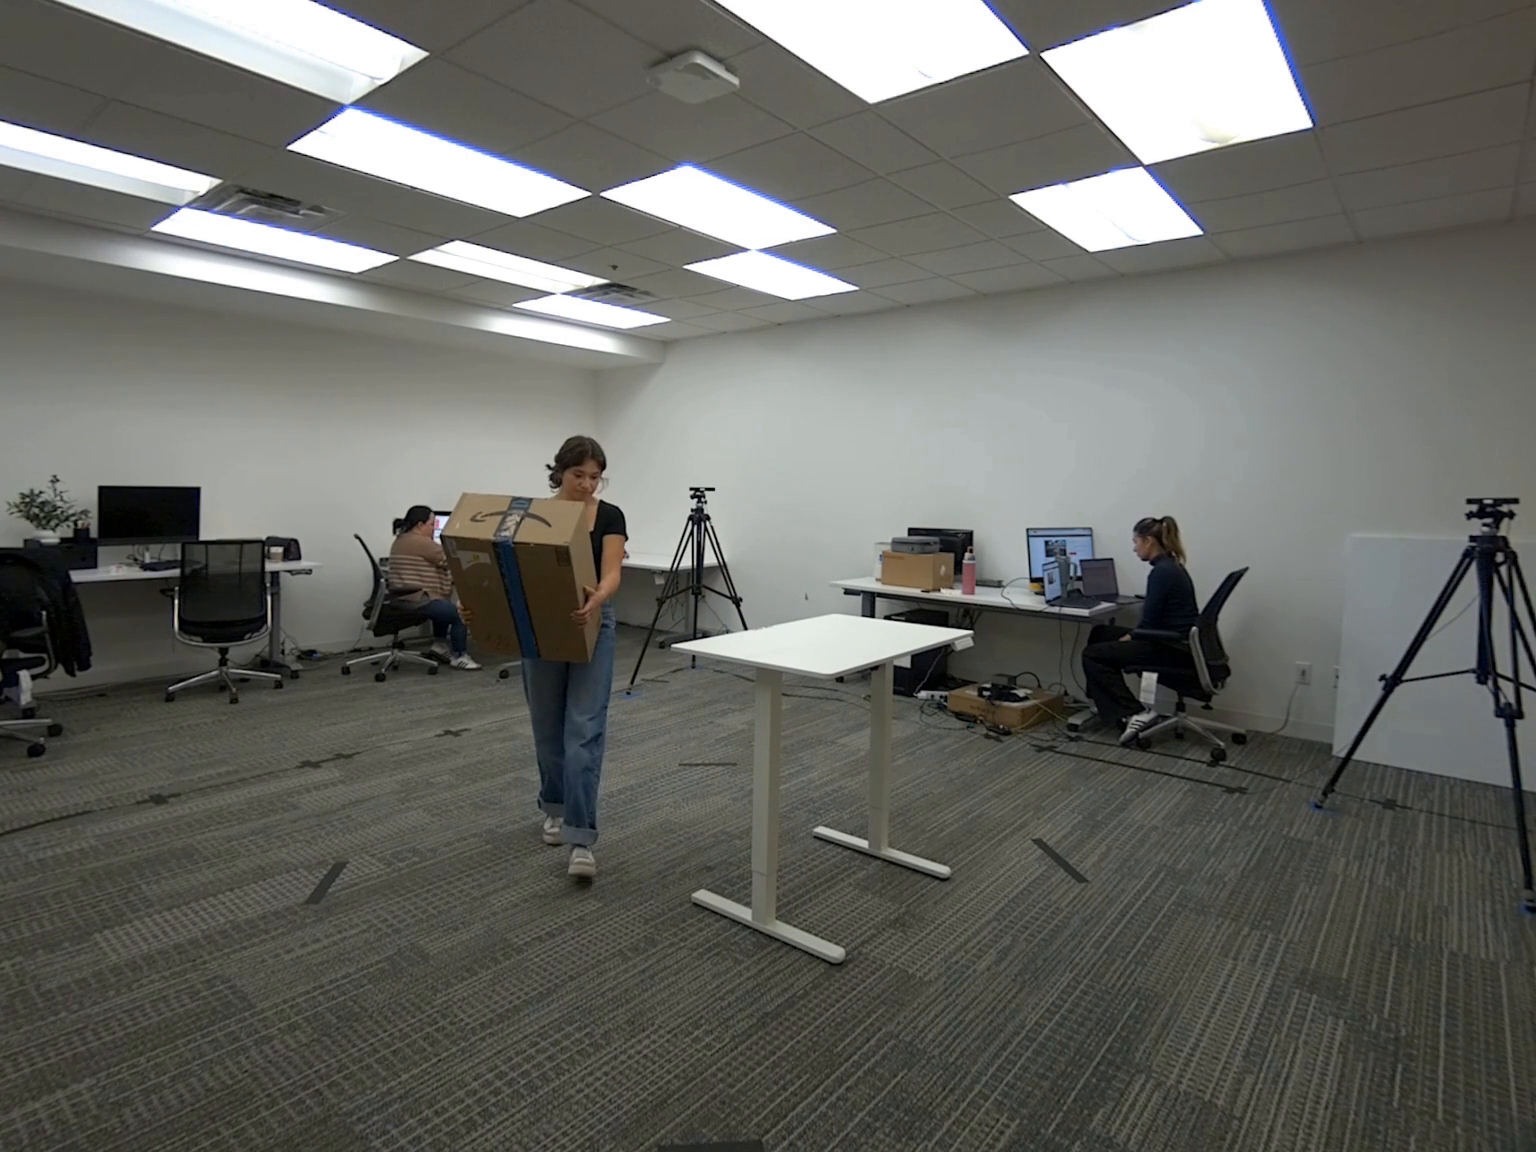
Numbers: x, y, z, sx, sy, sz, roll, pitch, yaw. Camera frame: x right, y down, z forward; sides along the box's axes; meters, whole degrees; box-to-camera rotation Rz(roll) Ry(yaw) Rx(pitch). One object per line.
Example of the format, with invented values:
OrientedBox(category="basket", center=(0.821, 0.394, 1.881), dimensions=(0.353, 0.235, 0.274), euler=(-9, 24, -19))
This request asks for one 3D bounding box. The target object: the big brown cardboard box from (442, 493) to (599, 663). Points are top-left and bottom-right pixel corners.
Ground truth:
OrientedBox(category="big brown cardboard box", center=(-0.829, 0.012, 2.875), dimensions=(0.420, 0.572, 0.238), euler=(5, 44, 5))
